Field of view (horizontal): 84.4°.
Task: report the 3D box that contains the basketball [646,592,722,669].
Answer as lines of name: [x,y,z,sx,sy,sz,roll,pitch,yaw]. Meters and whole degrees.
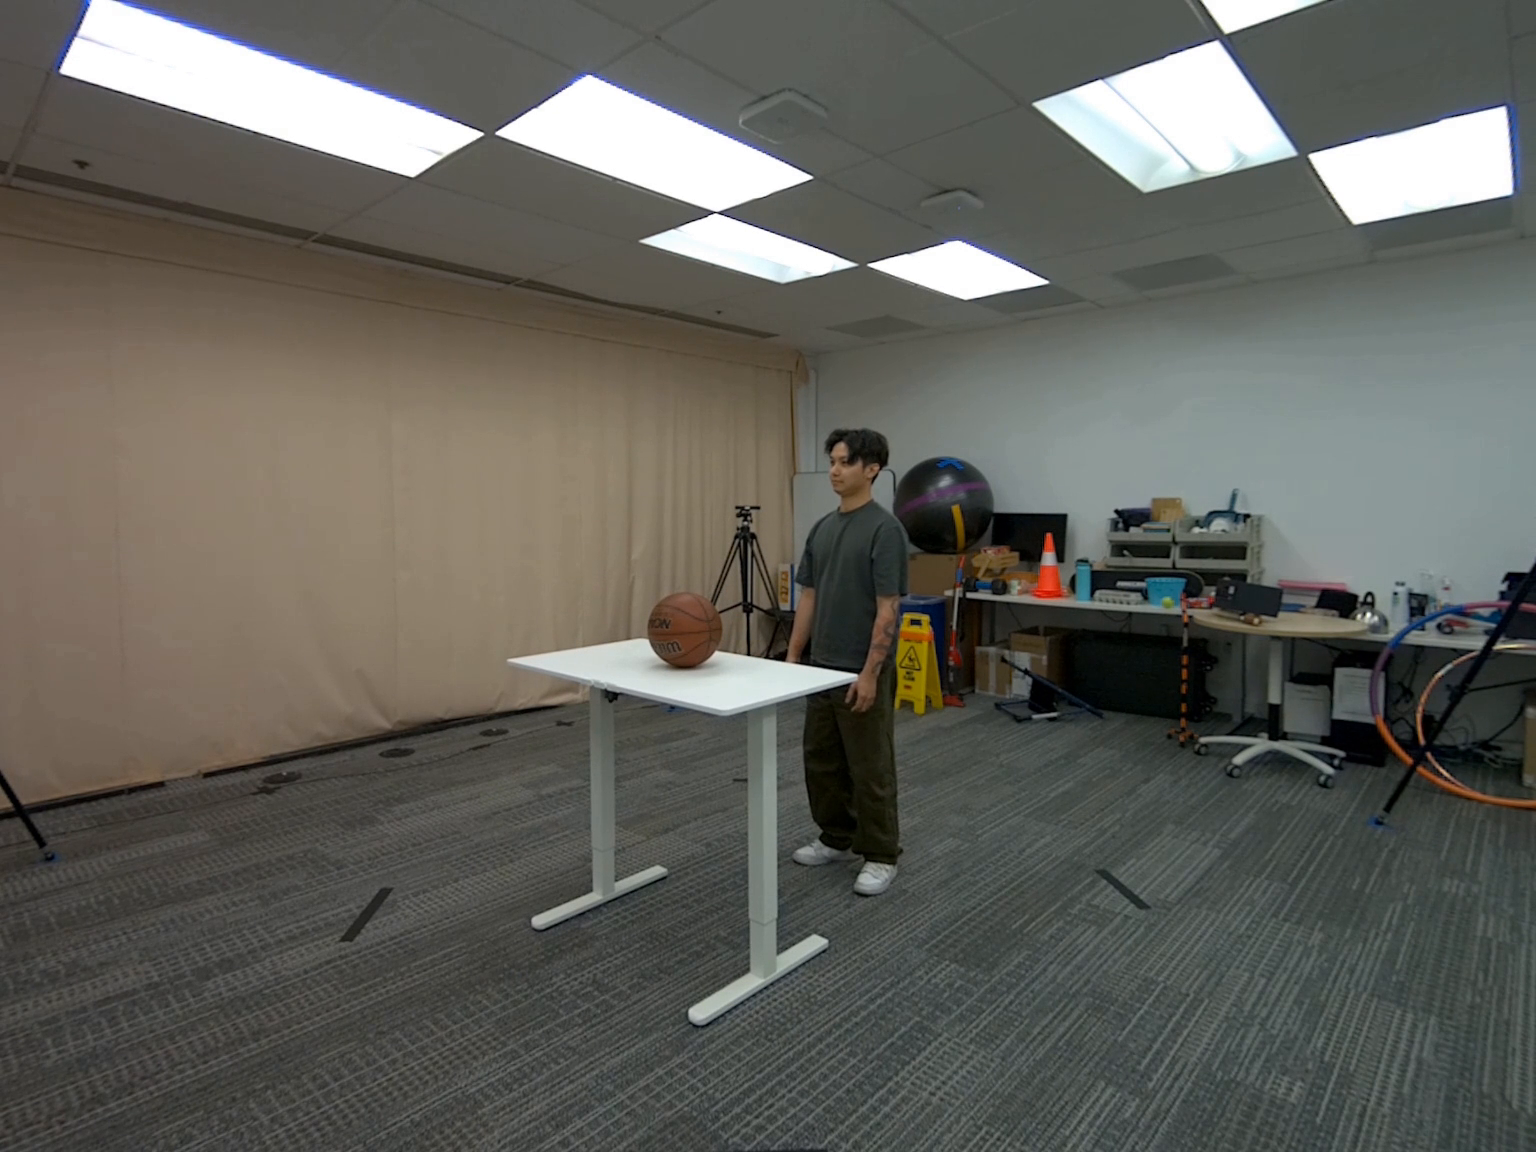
basketball: [-0.263,0.172,2.681,0.236,0.235,0.237,0,4,-2]
